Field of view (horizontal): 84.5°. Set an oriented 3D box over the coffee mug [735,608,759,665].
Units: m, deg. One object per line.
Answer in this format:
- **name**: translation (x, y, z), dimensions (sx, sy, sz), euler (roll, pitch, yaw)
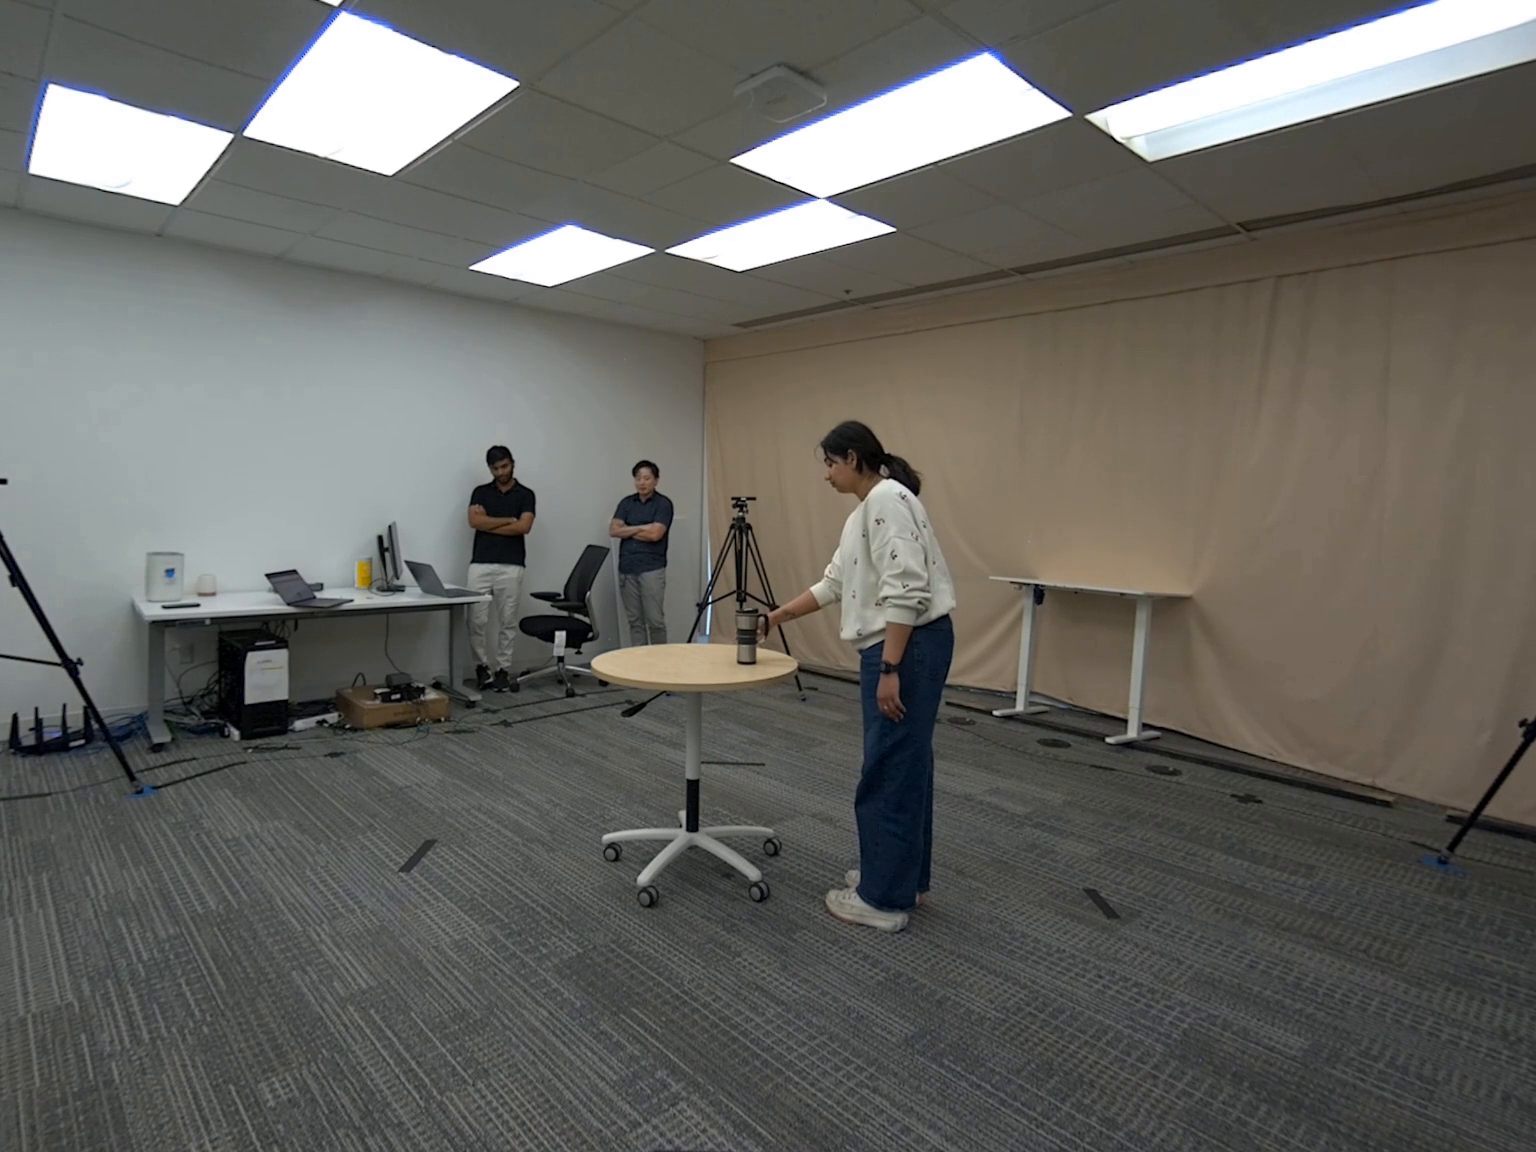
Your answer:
- **coffee mug**: translation (-0.064, 0.224, 3.086), dimensions (0.125, 0.203, 0.086), euler (5, 1, 42)
